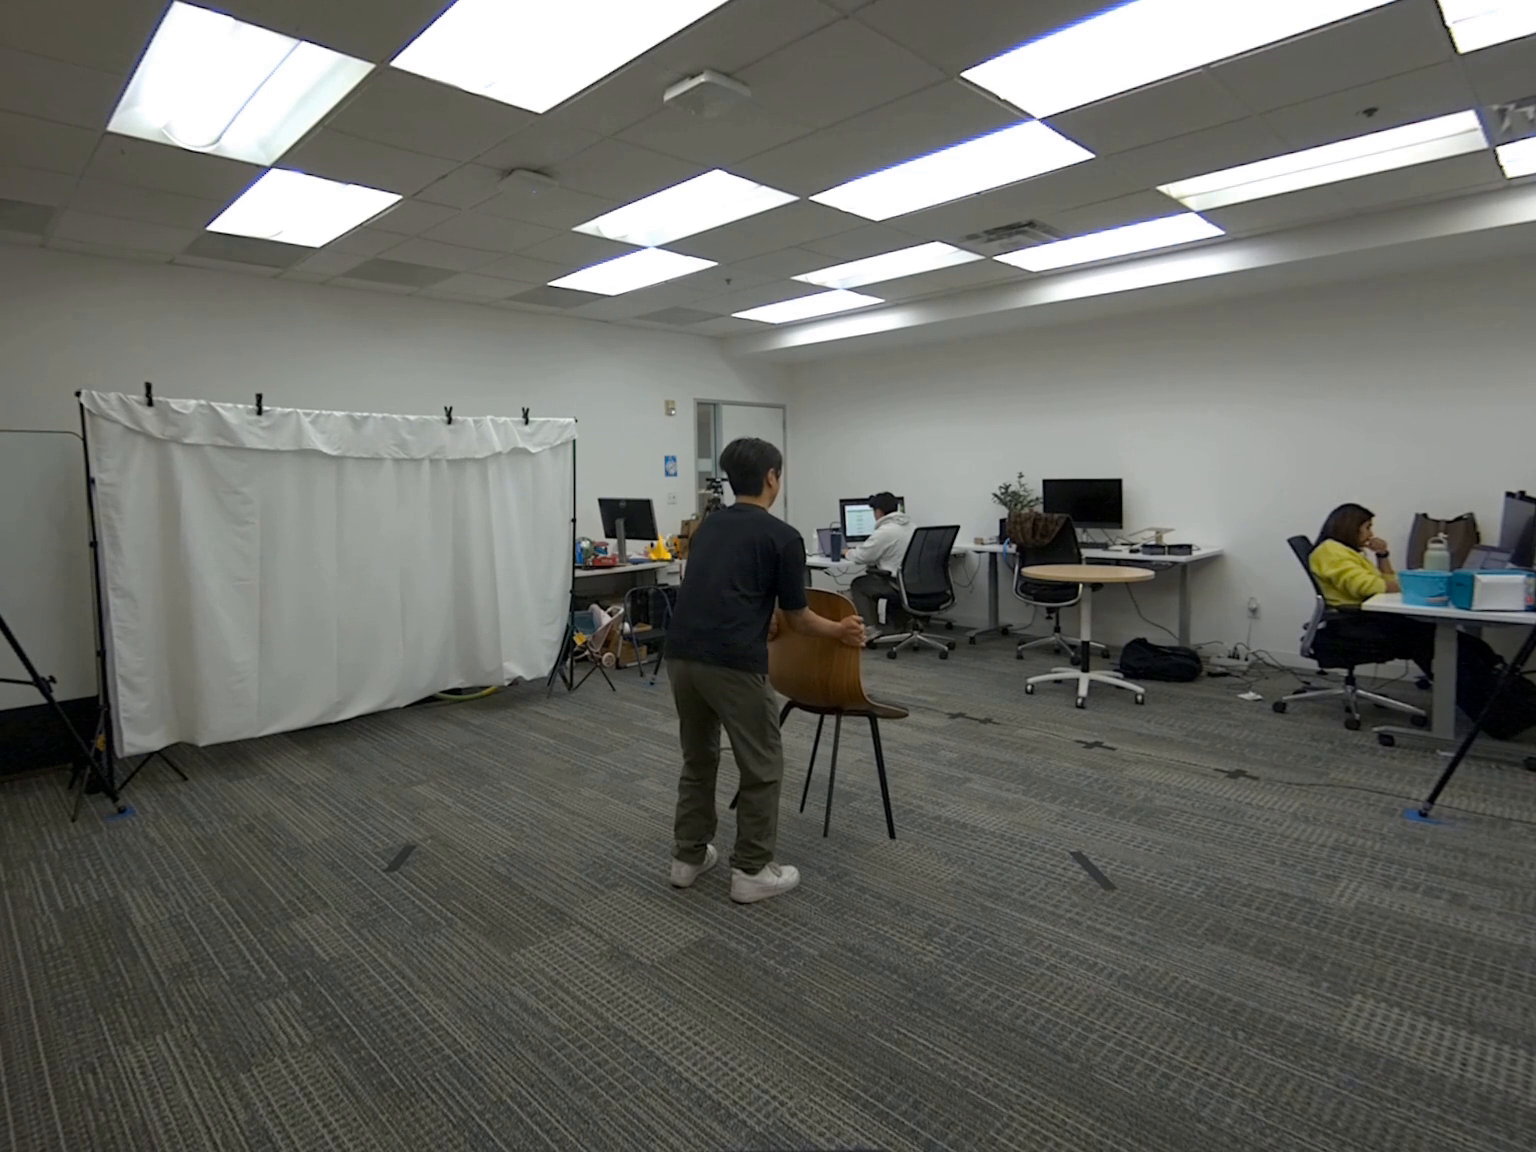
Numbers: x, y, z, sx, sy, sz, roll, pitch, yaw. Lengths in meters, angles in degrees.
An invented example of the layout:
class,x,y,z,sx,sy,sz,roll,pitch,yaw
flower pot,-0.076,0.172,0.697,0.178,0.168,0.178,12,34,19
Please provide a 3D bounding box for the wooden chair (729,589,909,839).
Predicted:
class,x,y,z,sx,sy,sz,roll,pitch,yaw
wooden chair,0.243,0.513,3.283,0.492,0.882,0.505,0,-9,42
